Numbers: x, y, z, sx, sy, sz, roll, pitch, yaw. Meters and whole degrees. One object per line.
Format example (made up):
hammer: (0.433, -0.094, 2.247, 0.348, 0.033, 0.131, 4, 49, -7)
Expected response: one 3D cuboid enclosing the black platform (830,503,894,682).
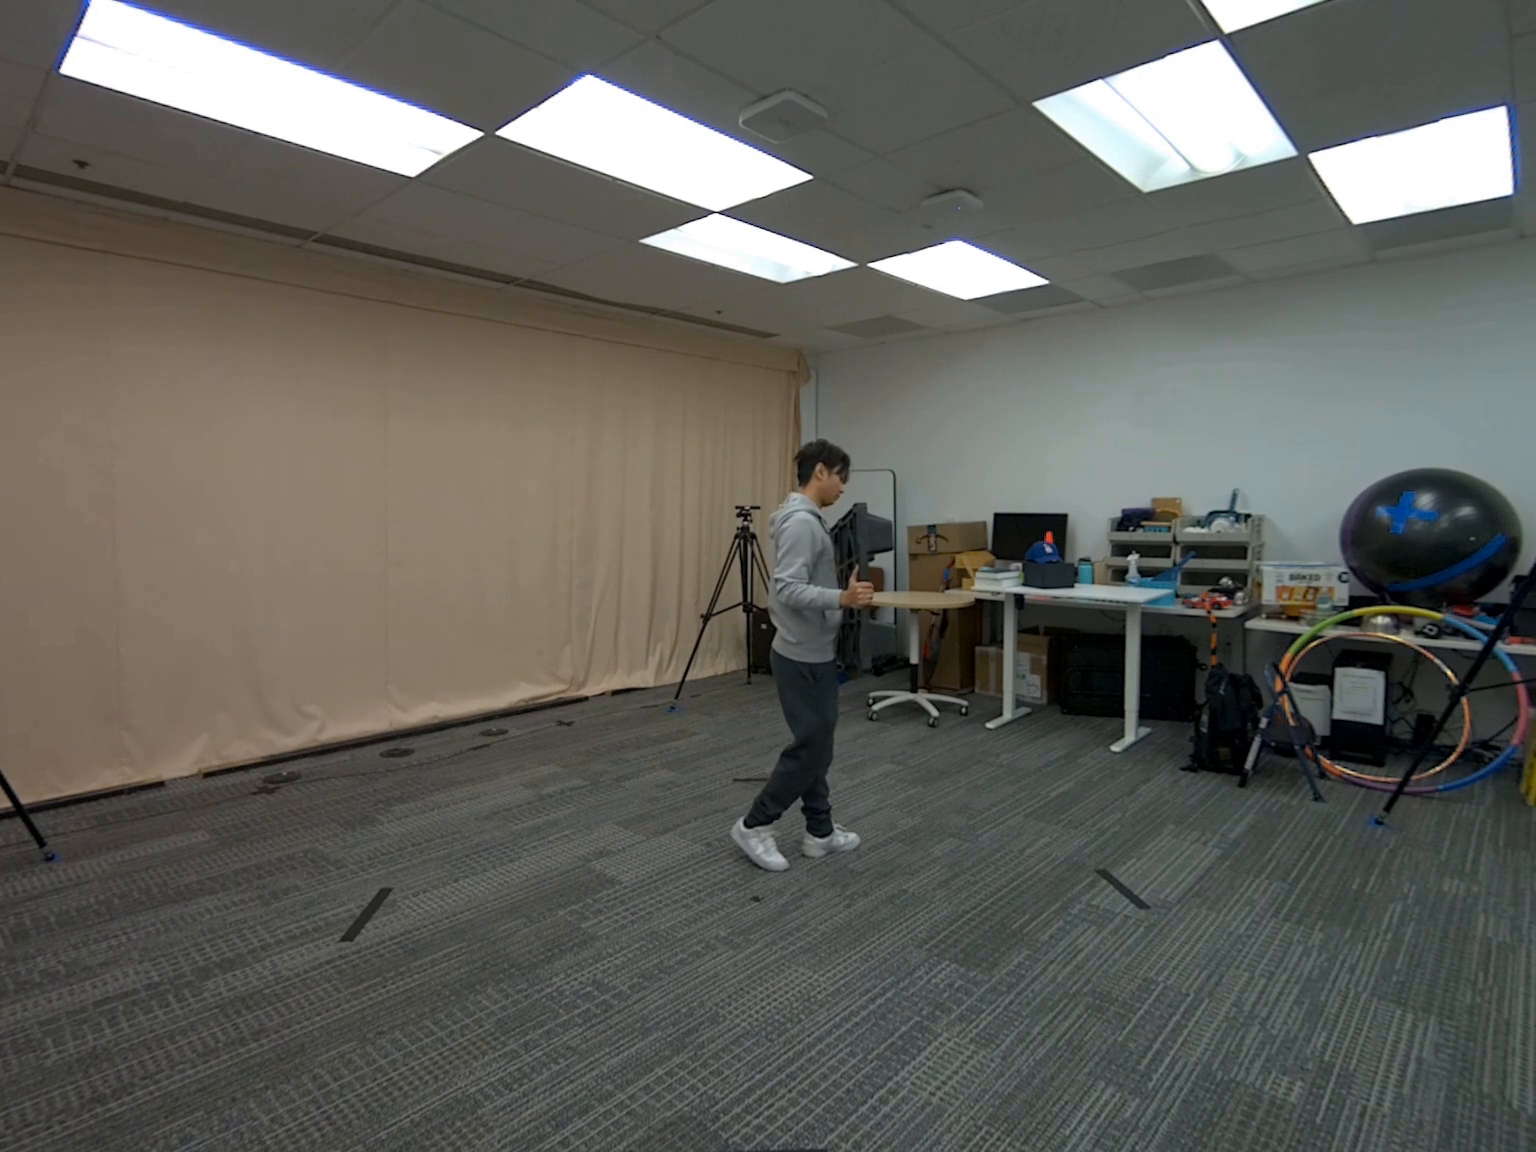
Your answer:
black platform: (0.359, 0.081, 3.309, 0.143, 0.607, 0.805, -1, -5, -5)
